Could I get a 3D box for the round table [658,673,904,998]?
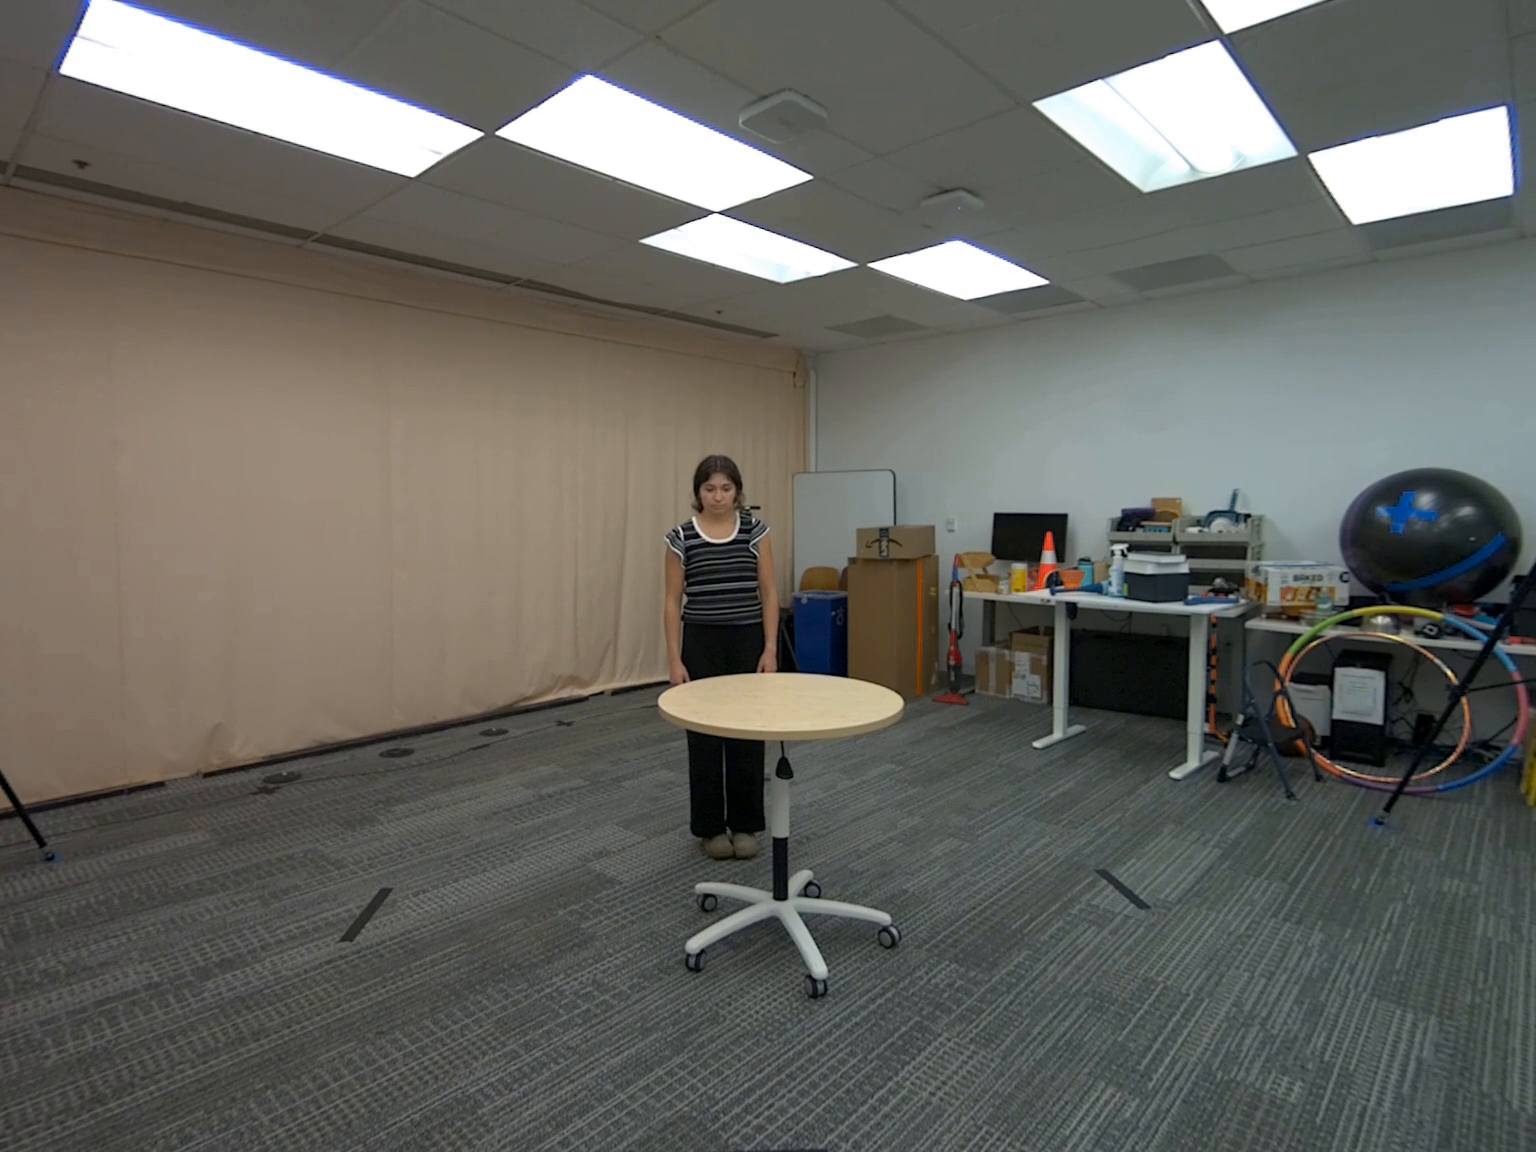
[{"bbox_3d":[0.055,0.771,2.692,0.784,0.785,0.788,0,4,-2],"label":"round table"}]
